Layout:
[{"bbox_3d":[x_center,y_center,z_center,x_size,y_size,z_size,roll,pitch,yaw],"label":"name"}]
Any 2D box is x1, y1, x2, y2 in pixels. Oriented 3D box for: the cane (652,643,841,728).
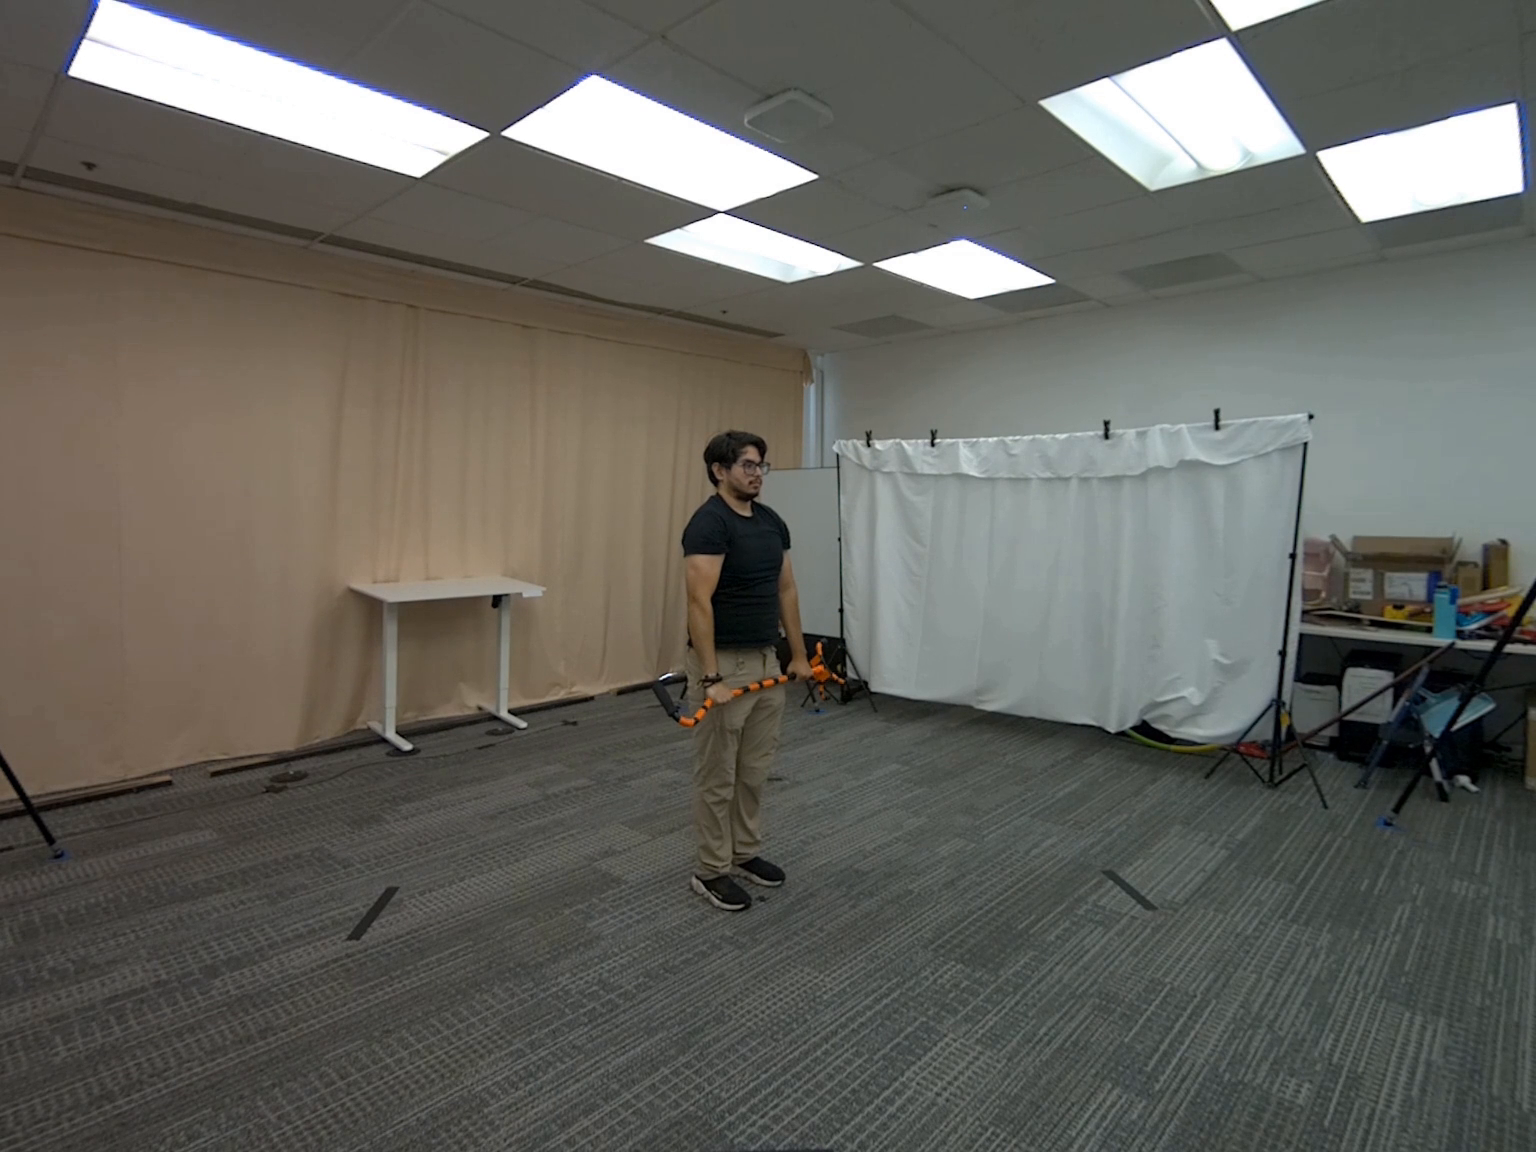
[{"bbox_3d":[-0.028,0.397,2.937,0.881,0.211,0.152,-6,-35,-51],"label":"cane"}]
